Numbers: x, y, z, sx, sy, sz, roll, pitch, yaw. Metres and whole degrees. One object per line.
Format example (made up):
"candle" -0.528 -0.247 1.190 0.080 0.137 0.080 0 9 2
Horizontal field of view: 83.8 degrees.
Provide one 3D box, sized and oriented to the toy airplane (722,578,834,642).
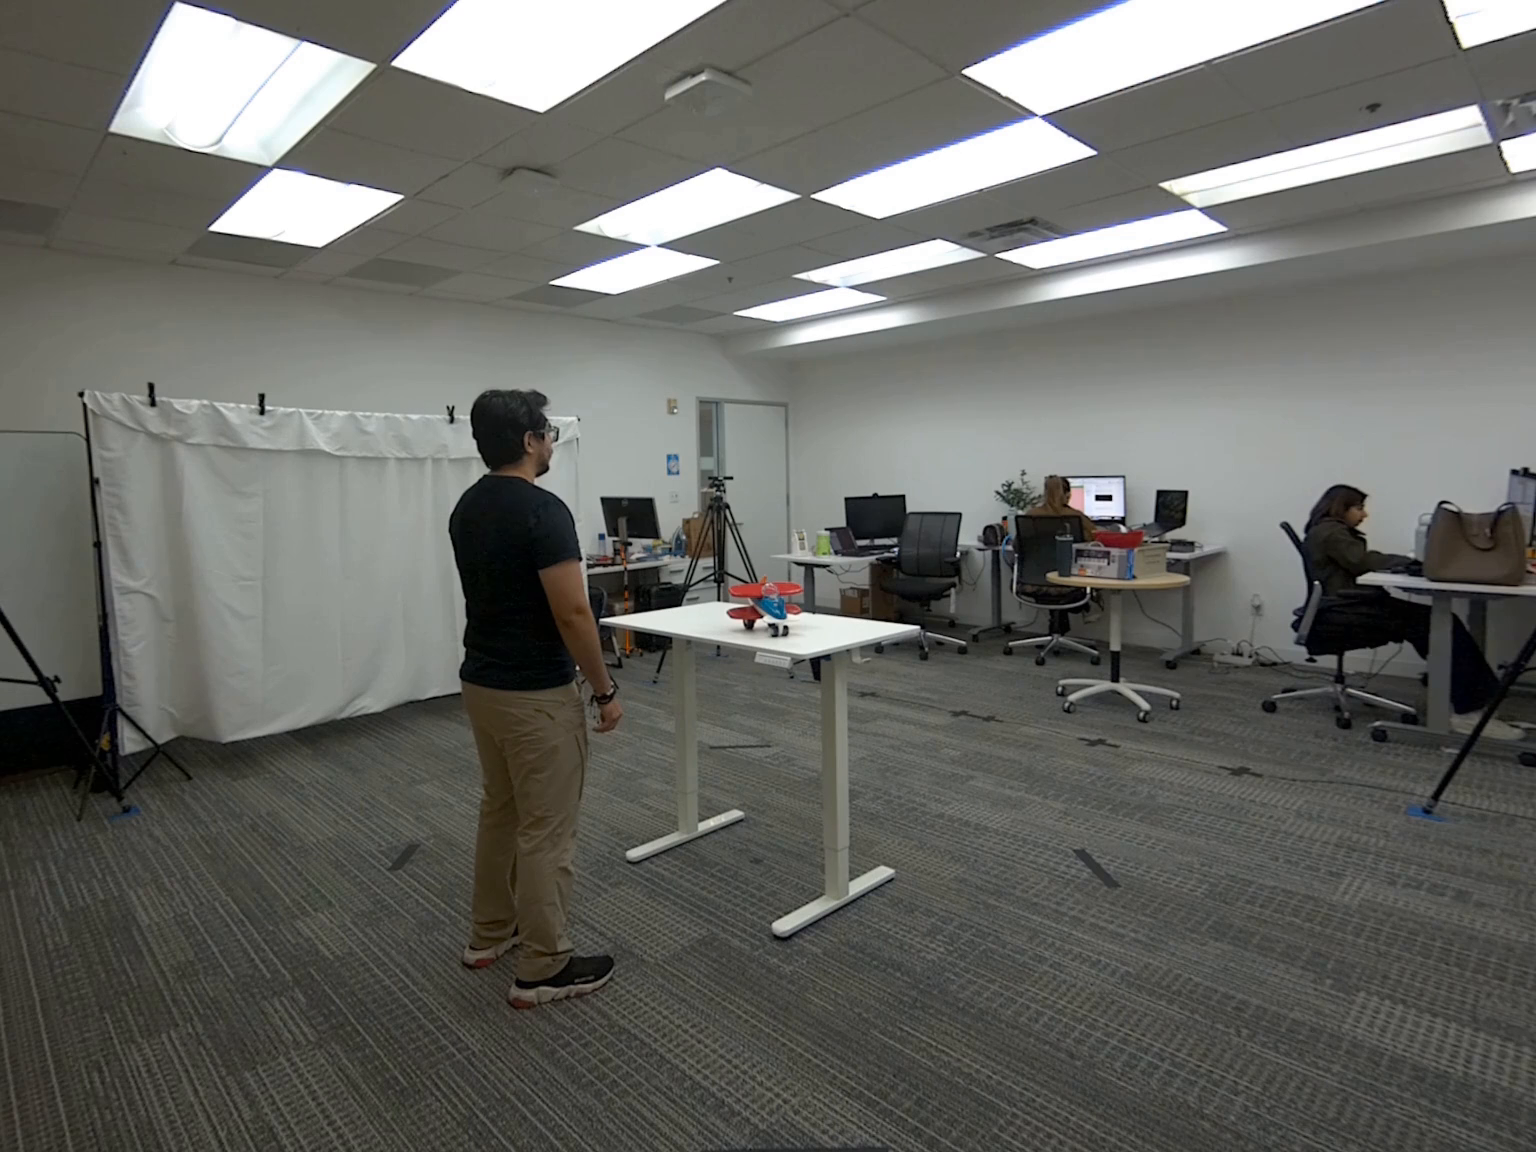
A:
"toy airplane" 0.031 0.104 2.819 0.267 0.156 0.245 4 8 43
